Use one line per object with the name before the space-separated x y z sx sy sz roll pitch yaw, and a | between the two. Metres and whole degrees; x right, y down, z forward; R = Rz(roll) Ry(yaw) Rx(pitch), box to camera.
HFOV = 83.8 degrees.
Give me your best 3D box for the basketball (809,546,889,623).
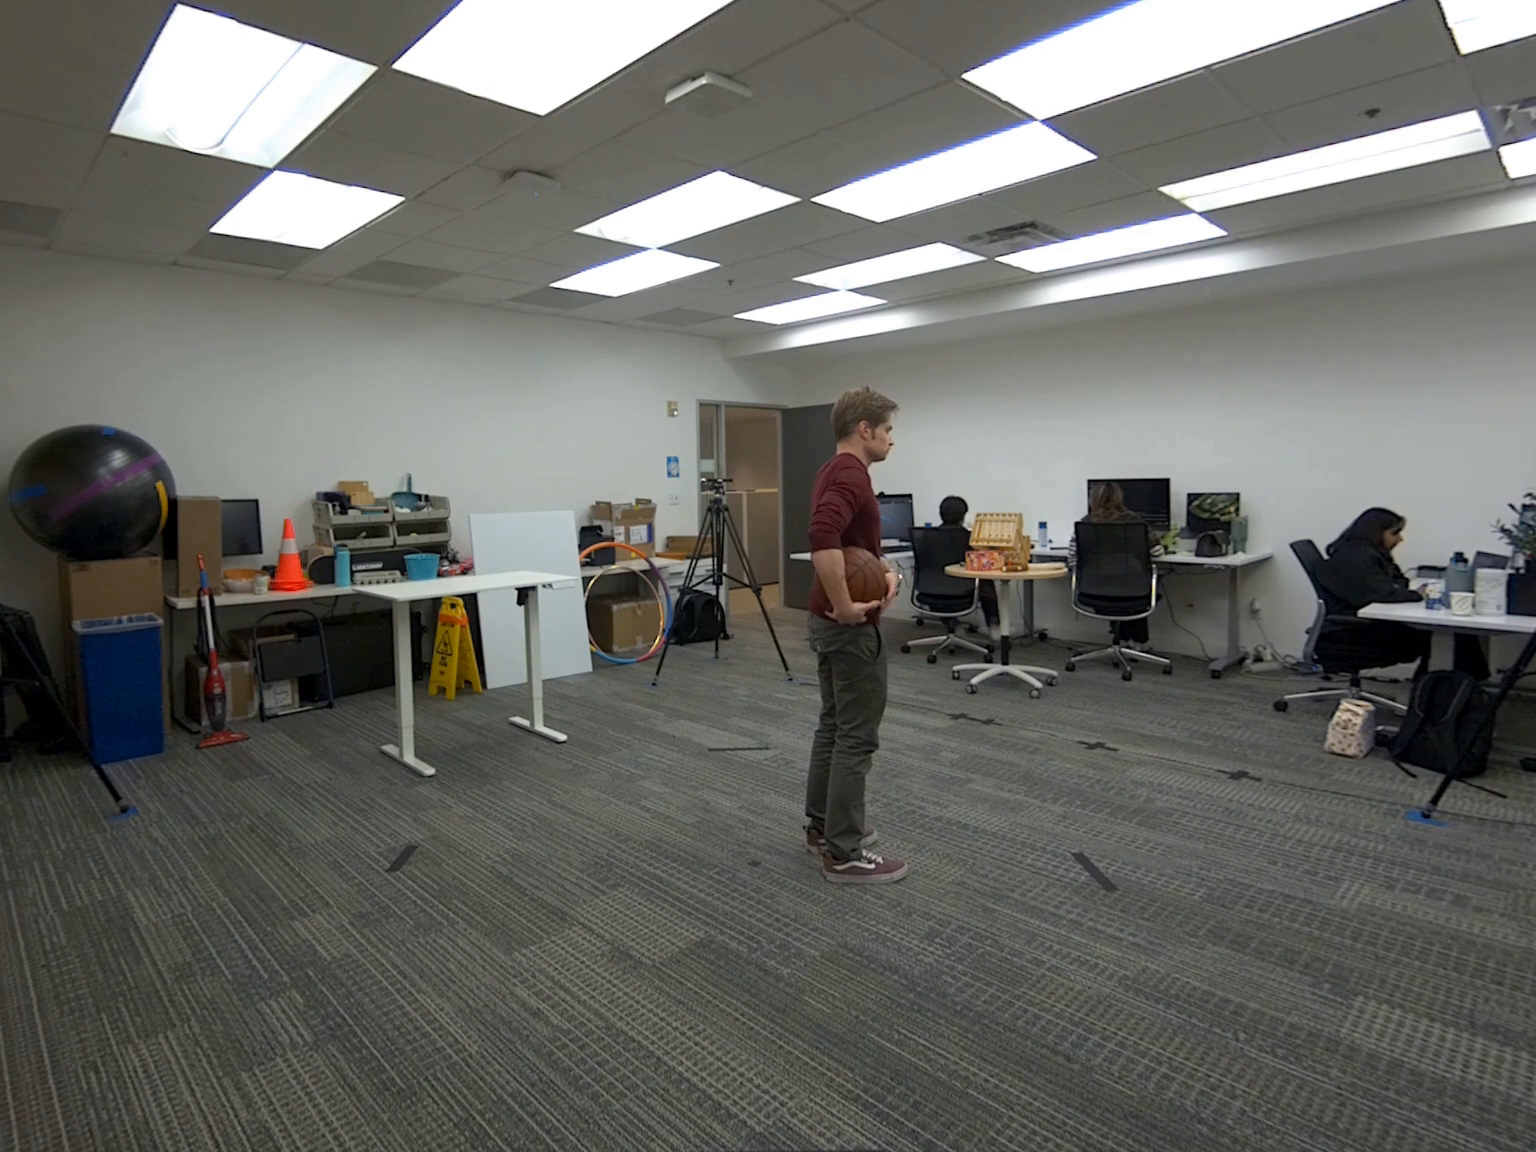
basketball | 0.275 0.023 2.808 0.236 0.235 0.237 -1 5 -2
